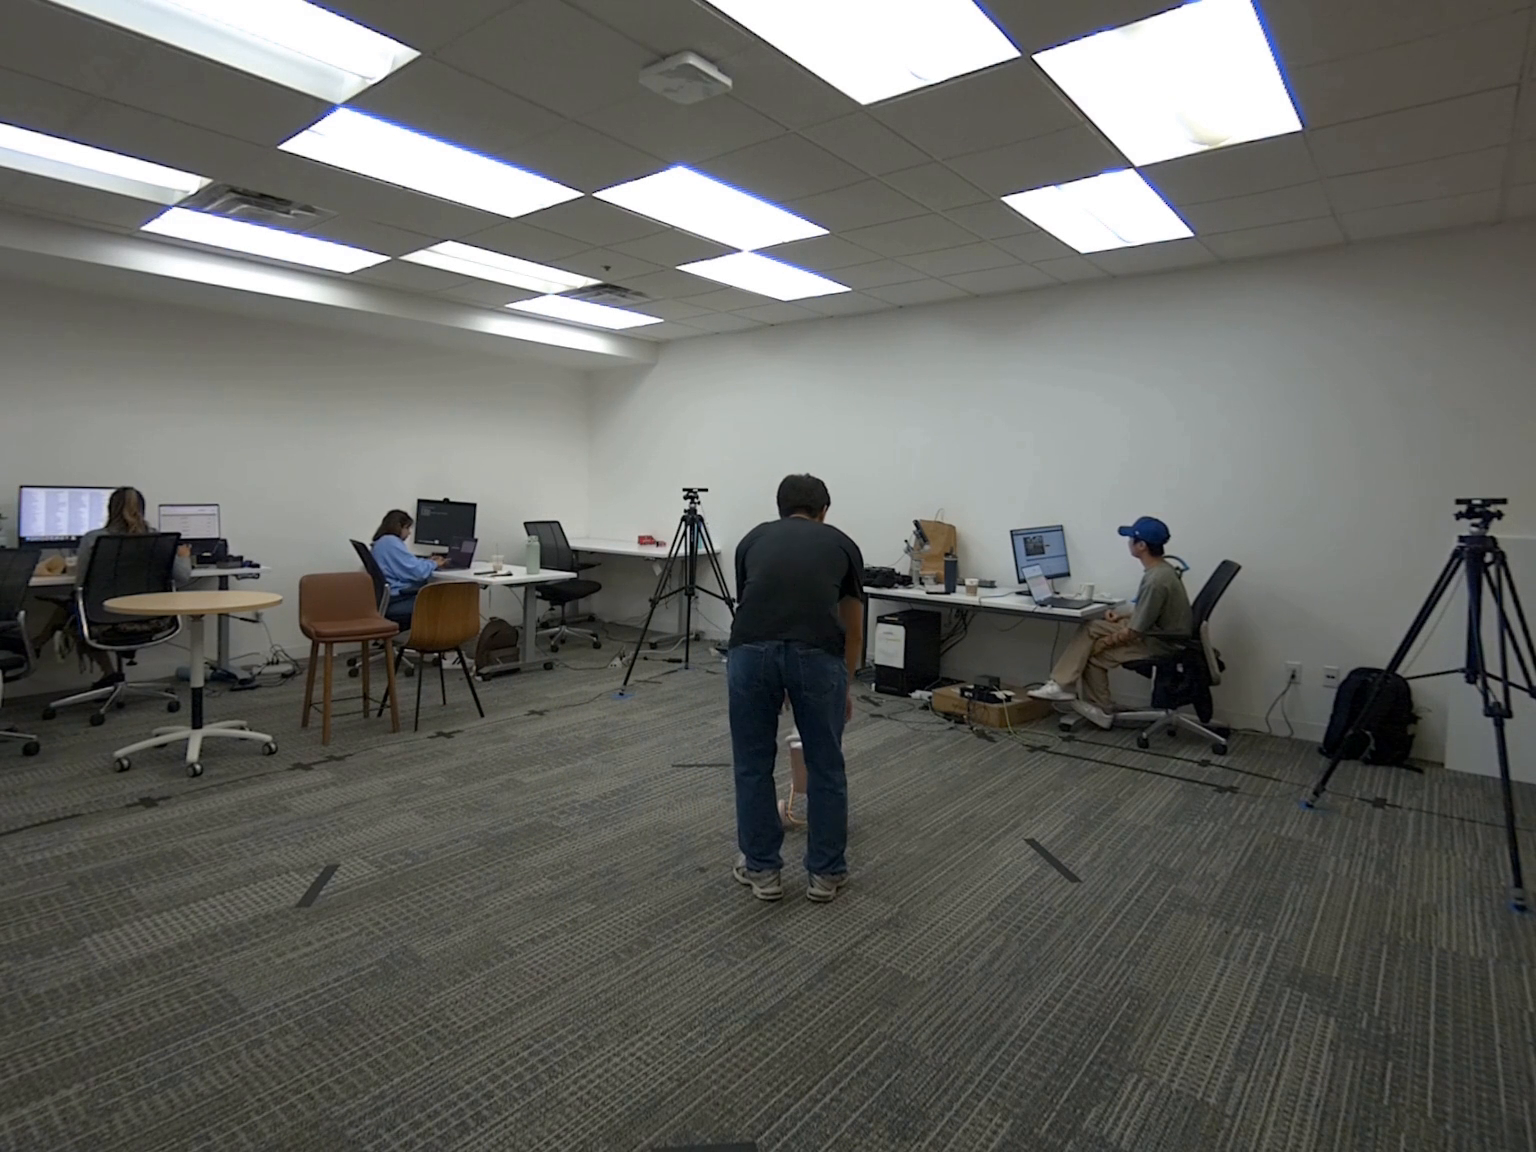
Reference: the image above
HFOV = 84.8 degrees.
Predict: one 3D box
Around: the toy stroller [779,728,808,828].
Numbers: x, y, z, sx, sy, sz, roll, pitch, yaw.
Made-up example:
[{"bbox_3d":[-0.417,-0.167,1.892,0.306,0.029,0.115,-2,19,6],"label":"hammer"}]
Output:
[{"bbox_3d":[0.188,0.811,3.555,0.286,0.525,0.342,3,20,13],"label":"toy stroller"}]
